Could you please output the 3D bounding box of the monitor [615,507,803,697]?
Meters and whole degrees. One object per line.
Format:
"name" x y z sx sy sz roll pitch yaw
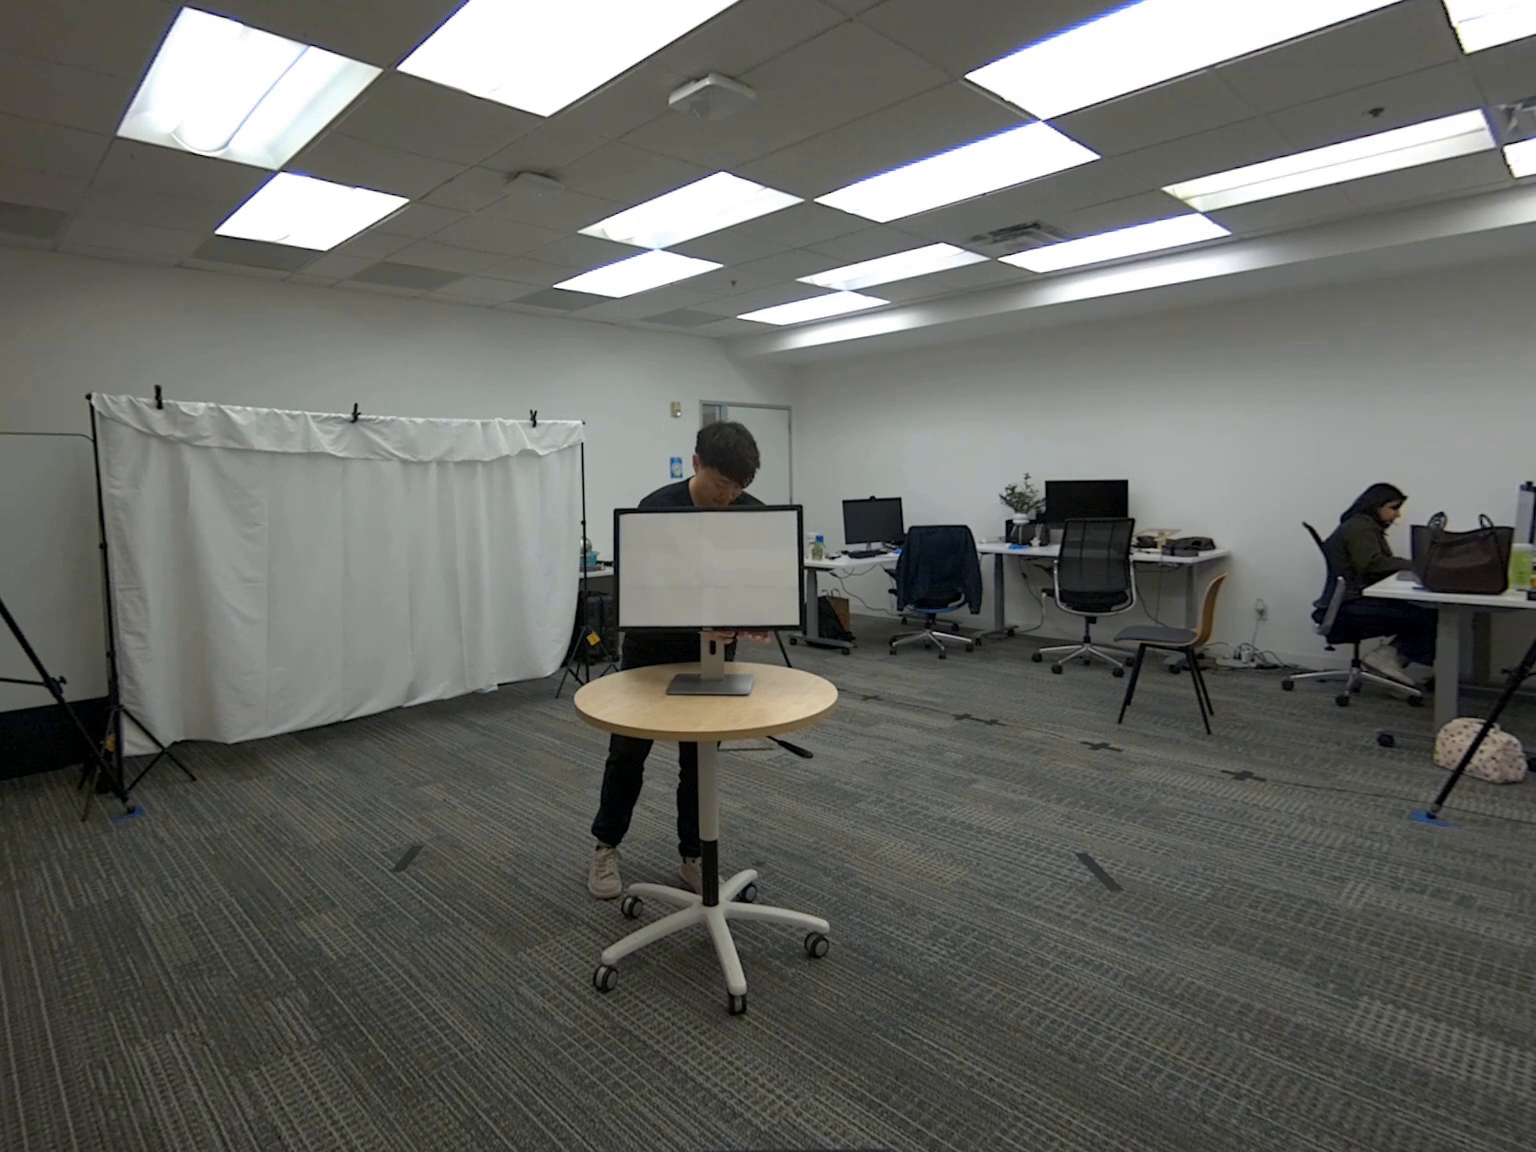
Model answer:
"monitor" -0.174 0.073 2.535 0.540 0.520 0.187 -1 6 3
